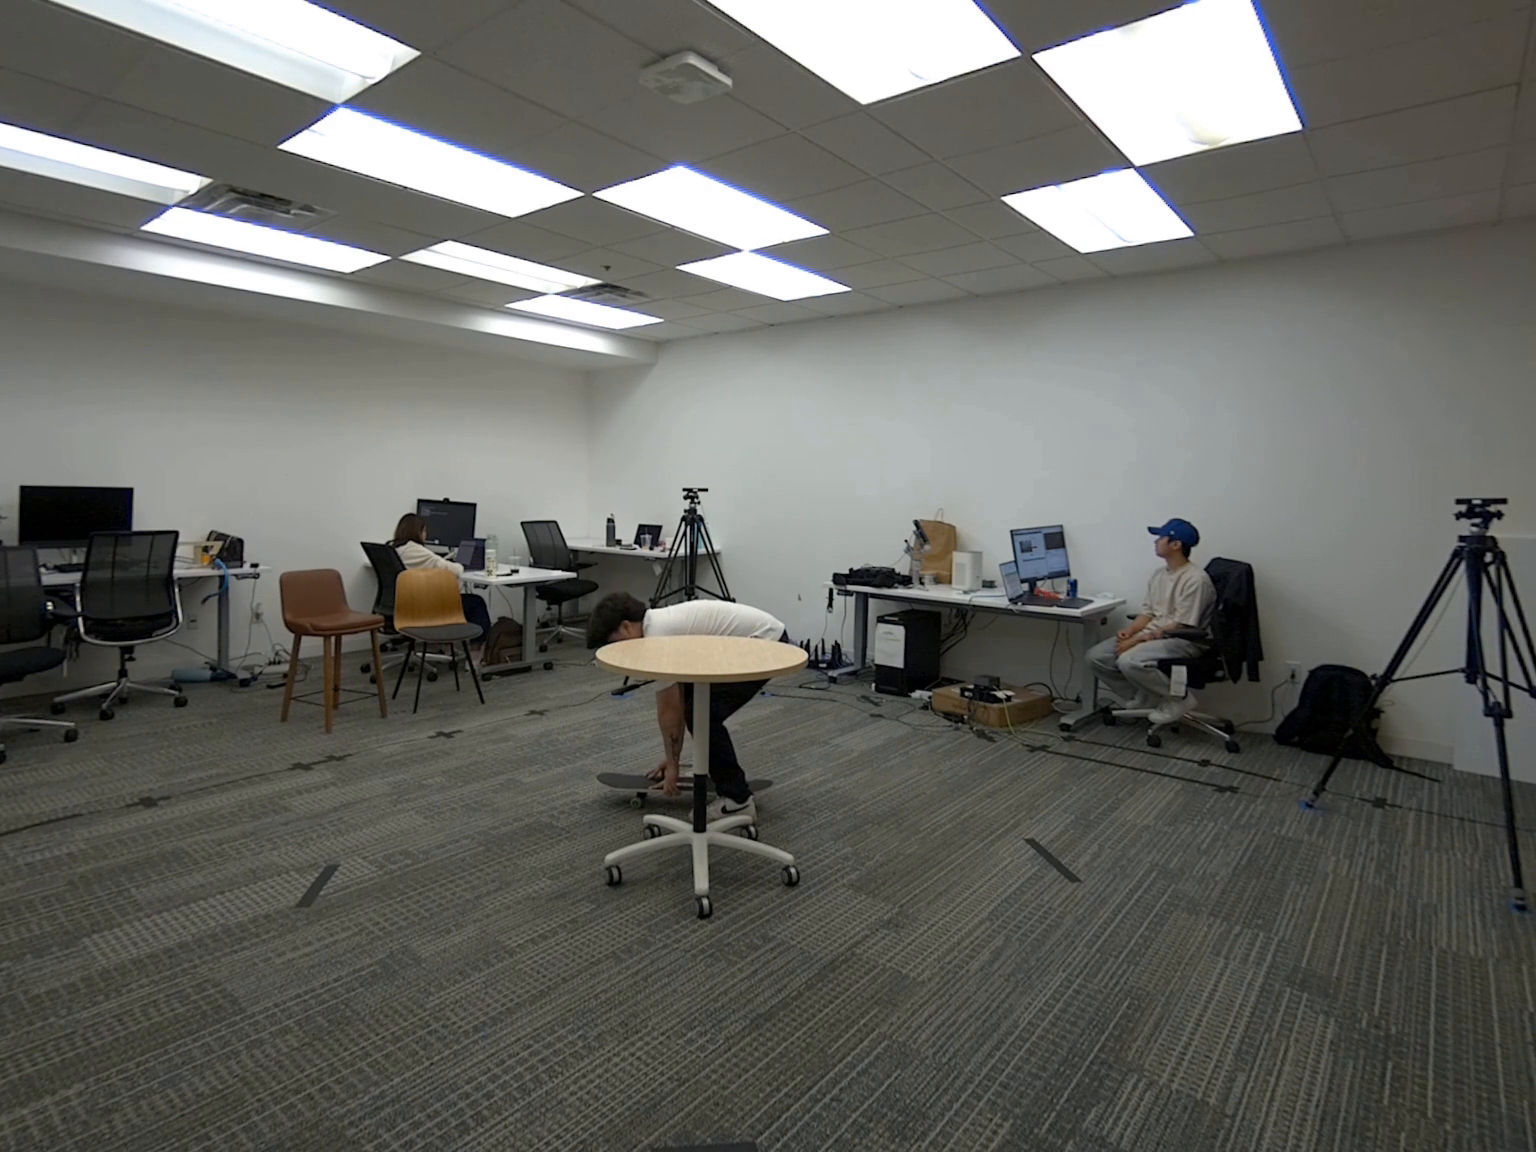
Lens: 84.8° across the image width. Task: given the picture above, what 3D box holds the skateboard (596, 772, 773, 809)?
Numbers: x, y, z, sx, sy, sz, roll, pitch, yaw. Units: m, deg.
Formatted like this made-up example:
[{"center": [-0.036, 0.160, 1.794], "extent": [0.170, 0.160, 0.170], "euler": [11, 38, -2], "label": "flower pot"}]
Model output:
[{"center": [-0.377, 0.947, 3.755], "extent": [0.788, 0.110, 0.193], "euler": [1, 5, 3], "label": "skateboard"}]
